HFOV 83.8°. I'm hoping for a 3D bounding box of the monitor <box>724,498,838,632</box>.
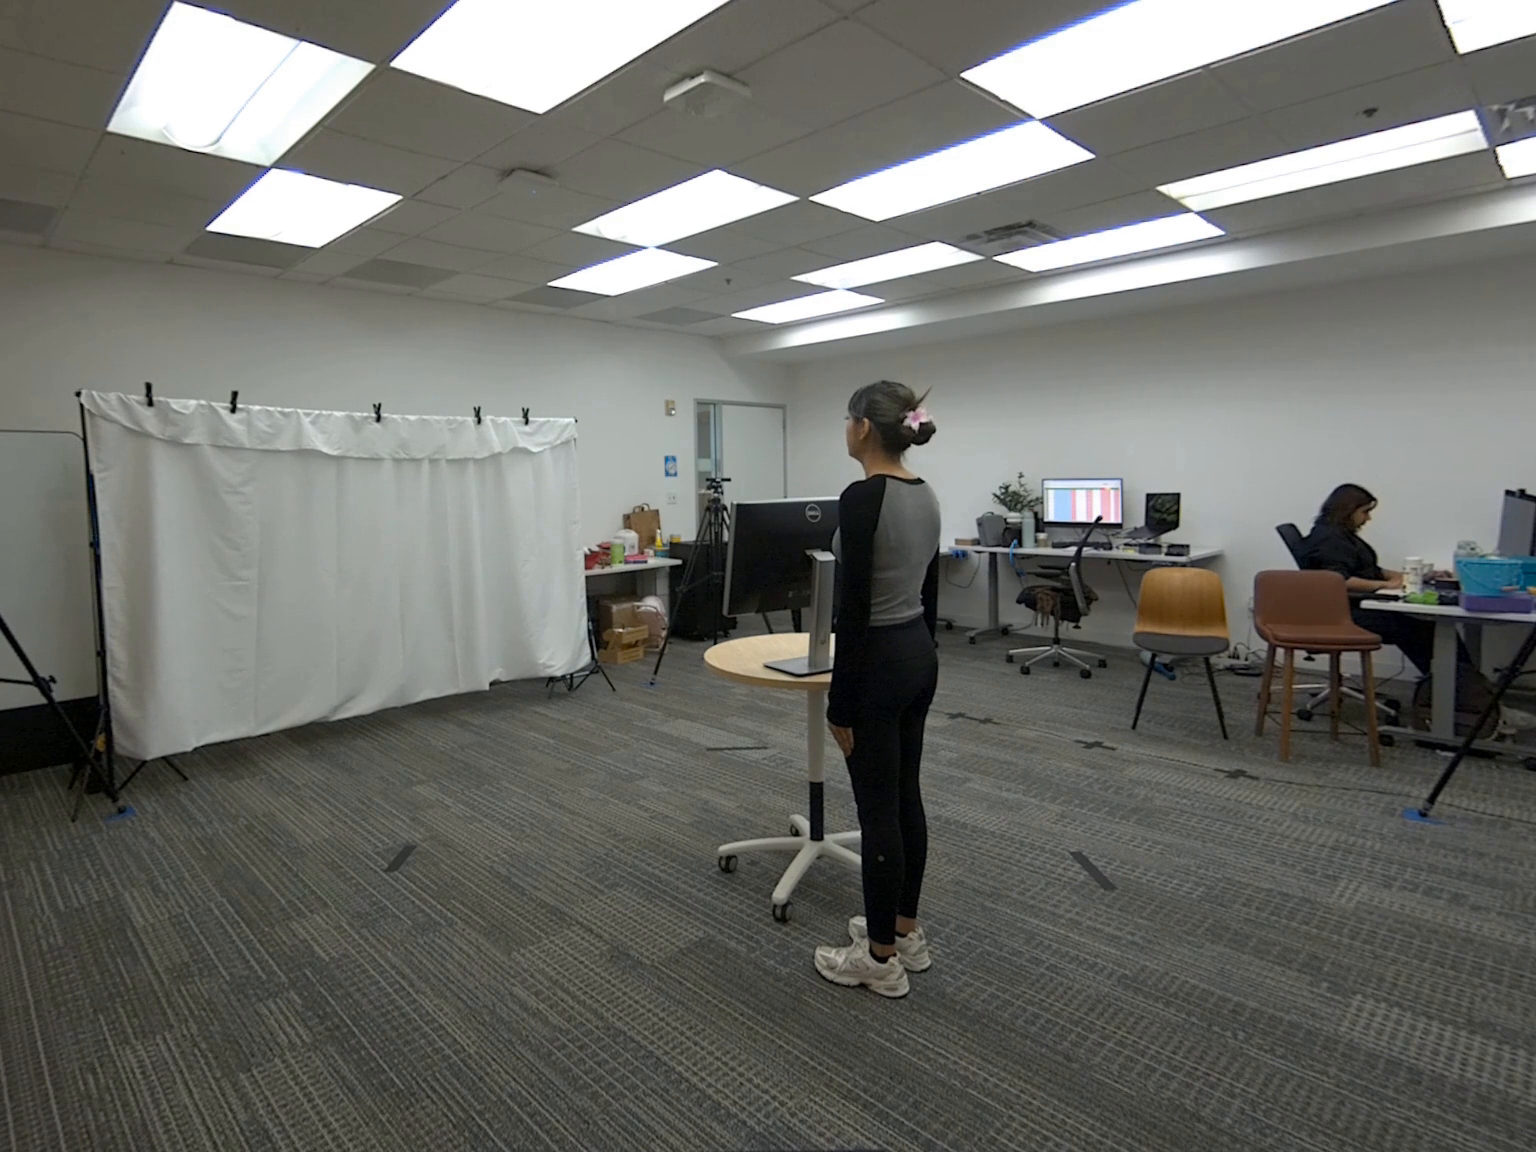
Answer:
[{"bbox_3d":[0.138,0.026,2.719,0.526,0.521,0.192,-4,3,-33],"label":"monitor"}]
